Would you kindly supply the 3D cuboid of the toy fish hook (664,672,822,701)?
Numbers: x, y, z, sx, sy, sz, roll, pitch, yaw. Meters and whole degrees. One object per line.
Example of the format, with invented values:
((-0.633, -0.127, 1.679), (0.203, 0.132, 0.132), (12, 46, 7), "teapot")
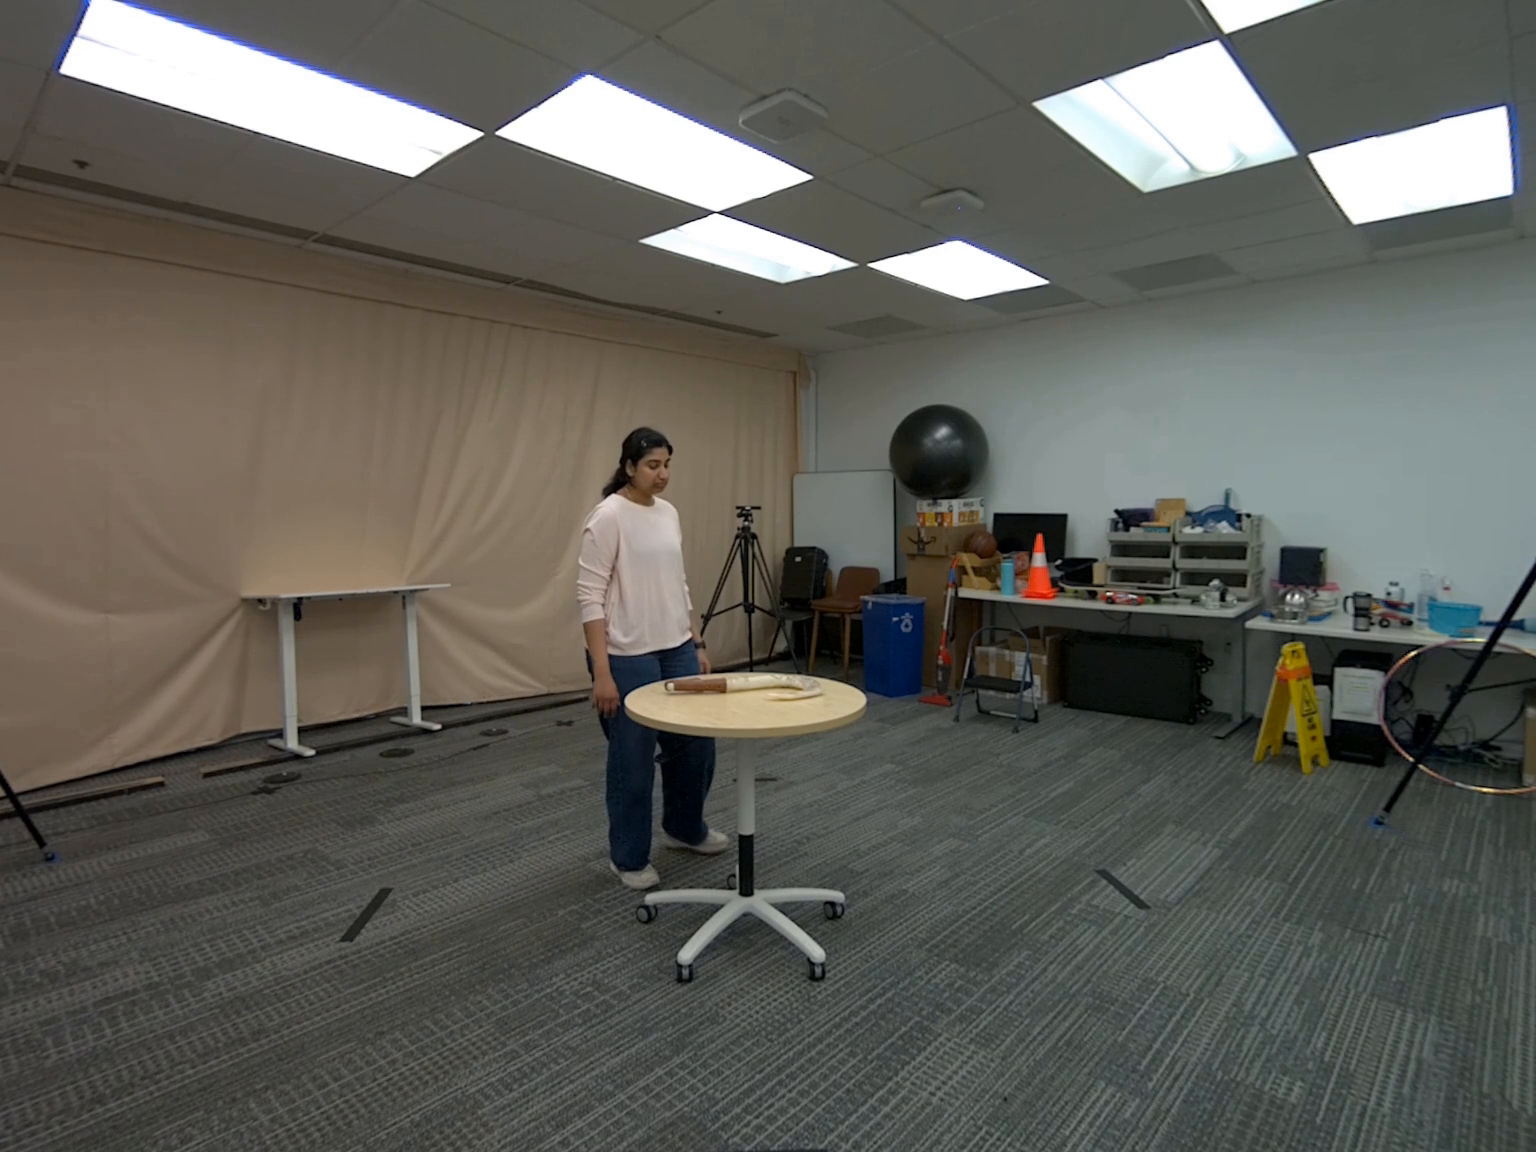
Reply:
((-0.087, 0.361, 2.706), (0.504, 0.048, 0.226), (0, 1, -6), "toy fish hook")
